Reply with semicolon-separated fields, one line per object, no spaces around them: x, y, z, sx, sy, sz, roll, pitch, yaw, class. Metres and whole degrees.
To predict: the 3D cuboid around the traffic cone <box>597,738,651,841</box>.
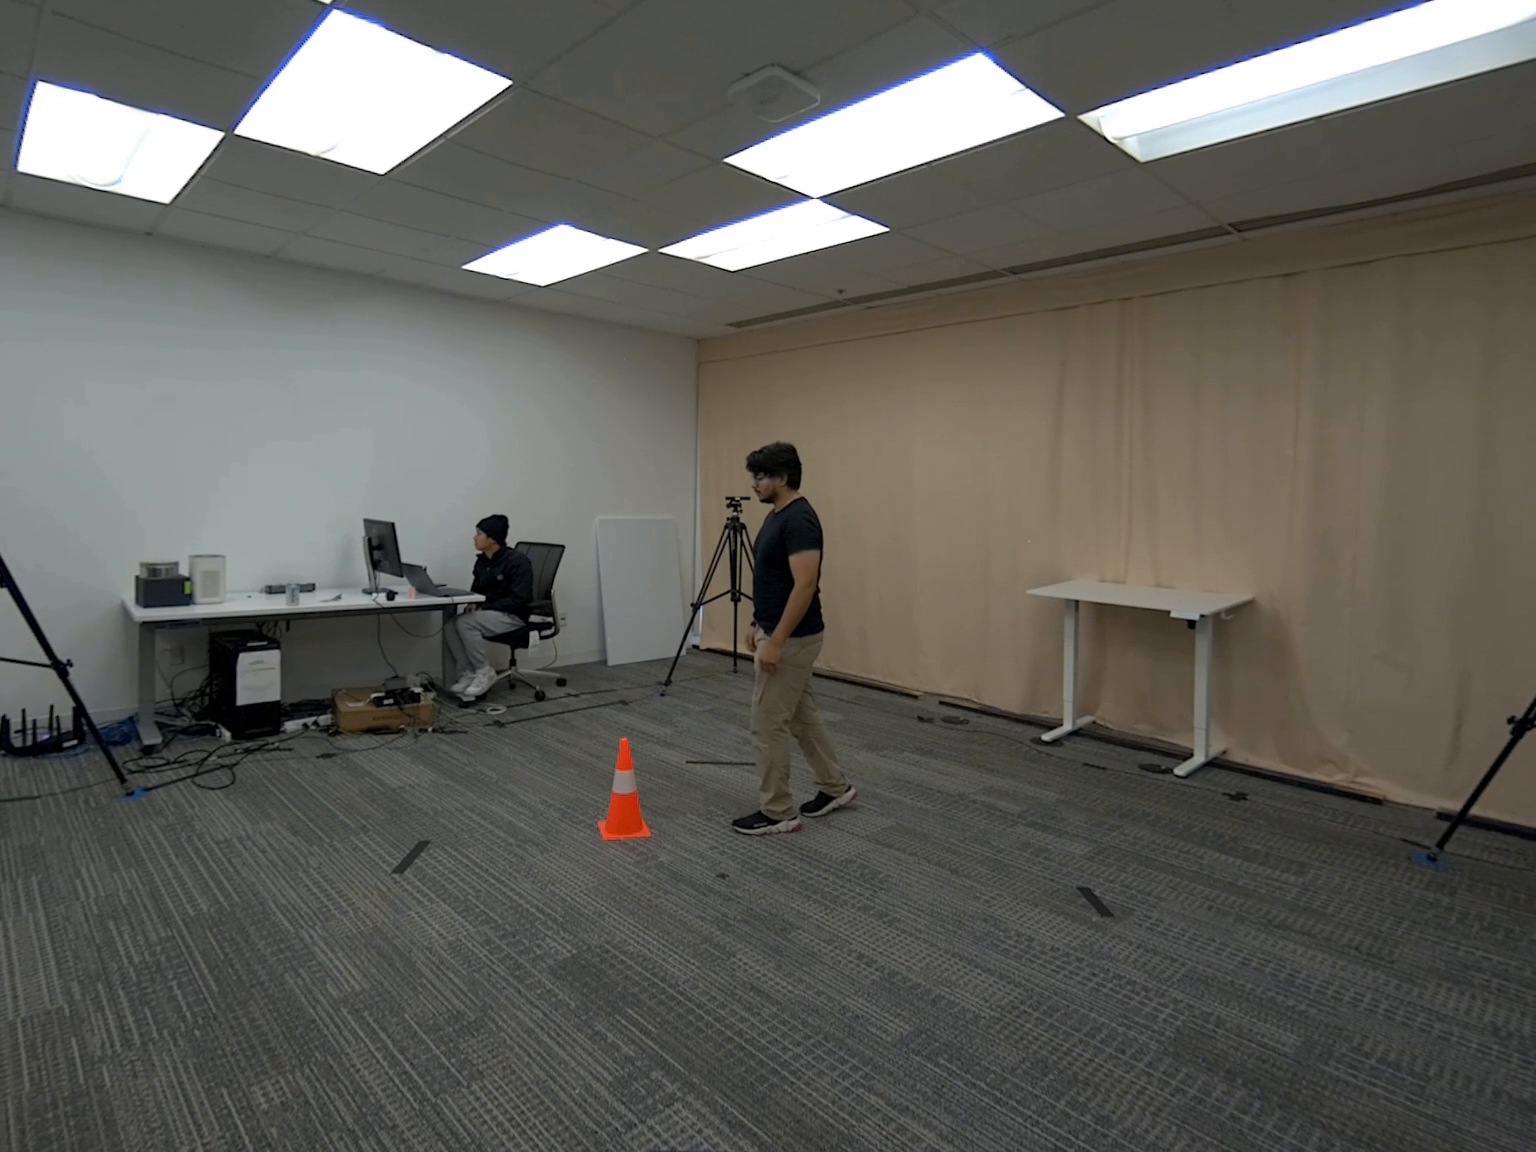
-0.611;0.873;3.511;0.201;0.382;0.208;-1;5;-16;traffic cone
